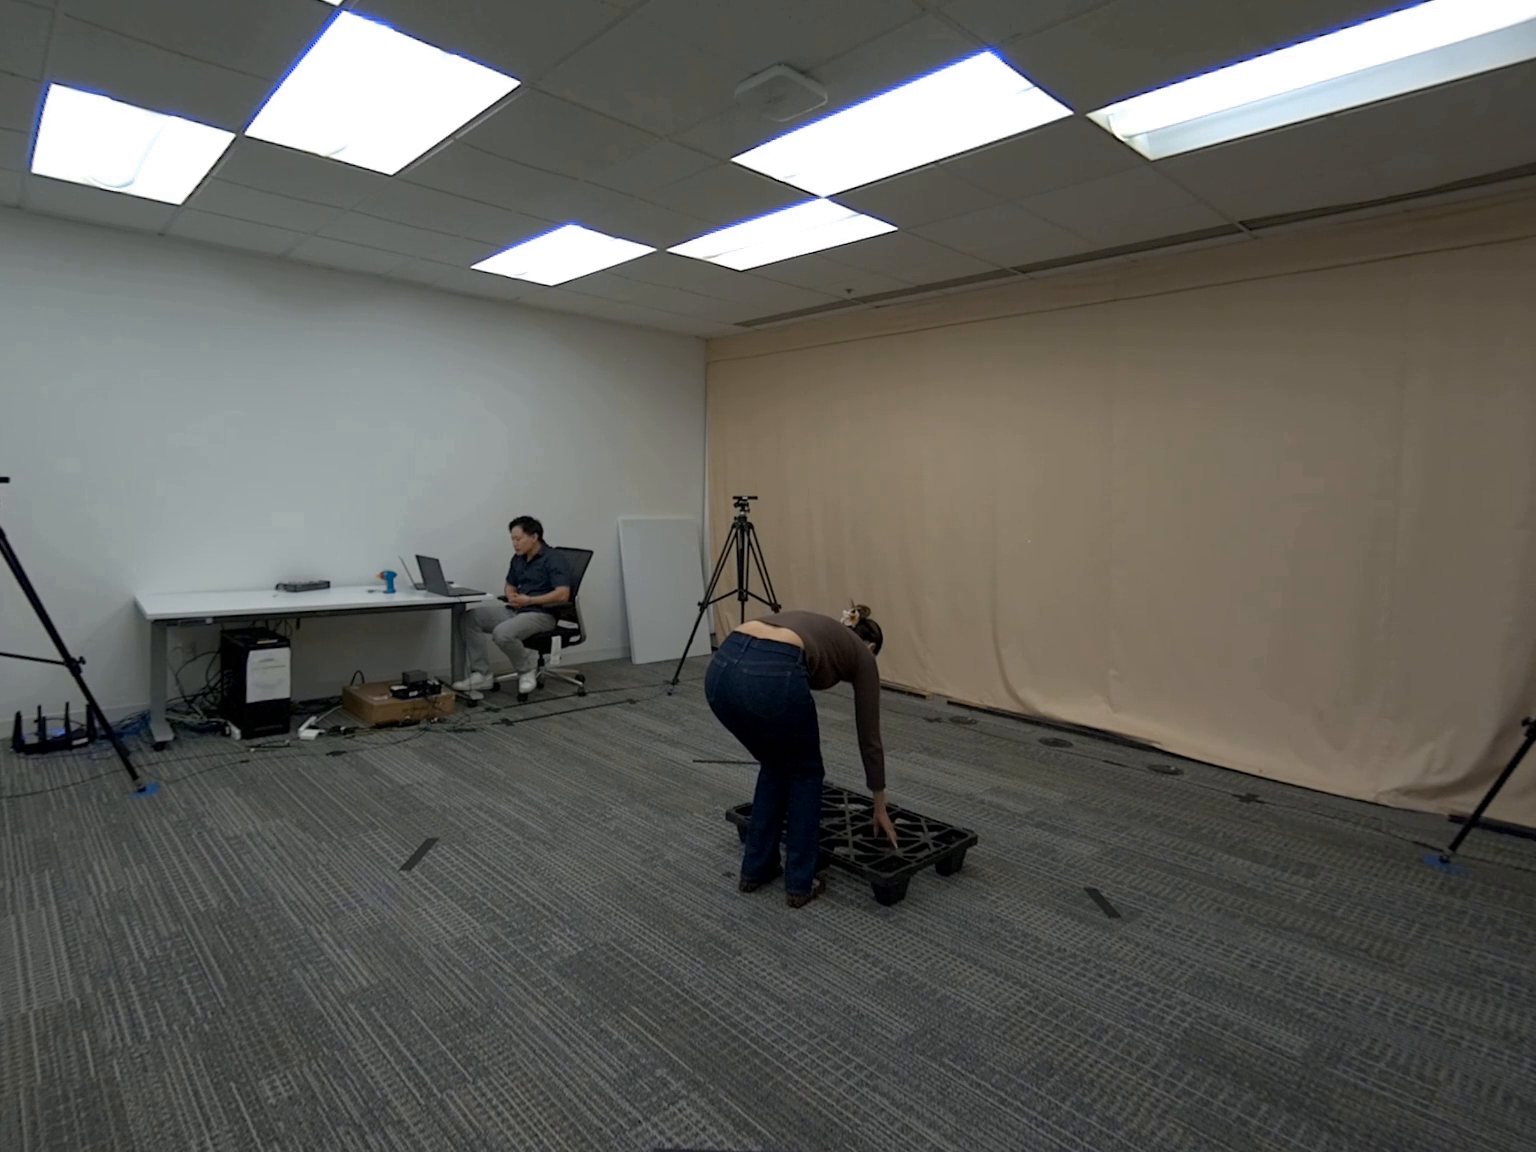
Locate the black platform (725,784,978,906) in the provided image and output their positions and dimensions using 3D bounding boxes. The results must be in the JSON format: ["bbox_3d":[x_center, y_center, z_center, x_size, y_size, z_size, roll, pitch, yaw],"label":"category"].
[{"bbox_3d":[0.305,1.028,3.293,0.591,0.143,0.826,-4,7,-45],"label":"black platform"}]
